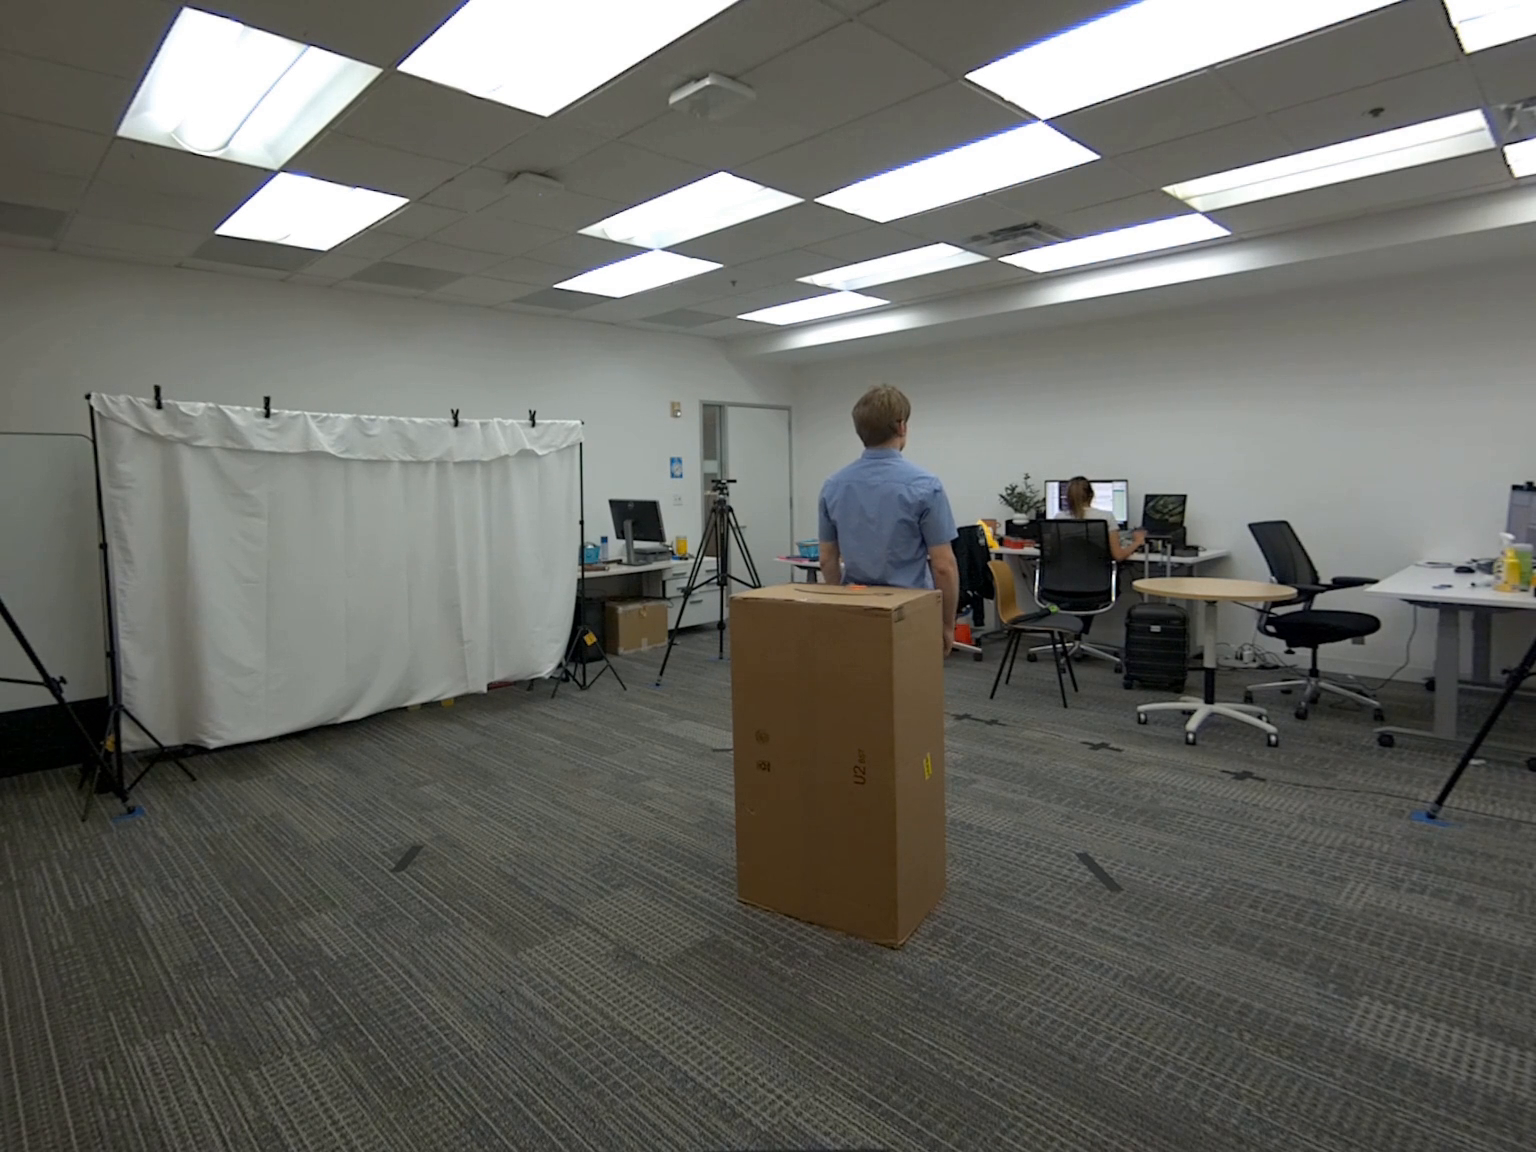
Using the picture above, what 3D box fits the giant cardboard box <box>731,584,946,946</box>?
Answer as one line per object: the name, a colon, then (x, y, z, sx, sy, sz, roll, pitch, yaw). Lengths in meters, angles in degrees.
giant cardboard box: (0.236, 0.568, 2.823, 0.599, 1.023, 0.437, 1, 5, 32)
